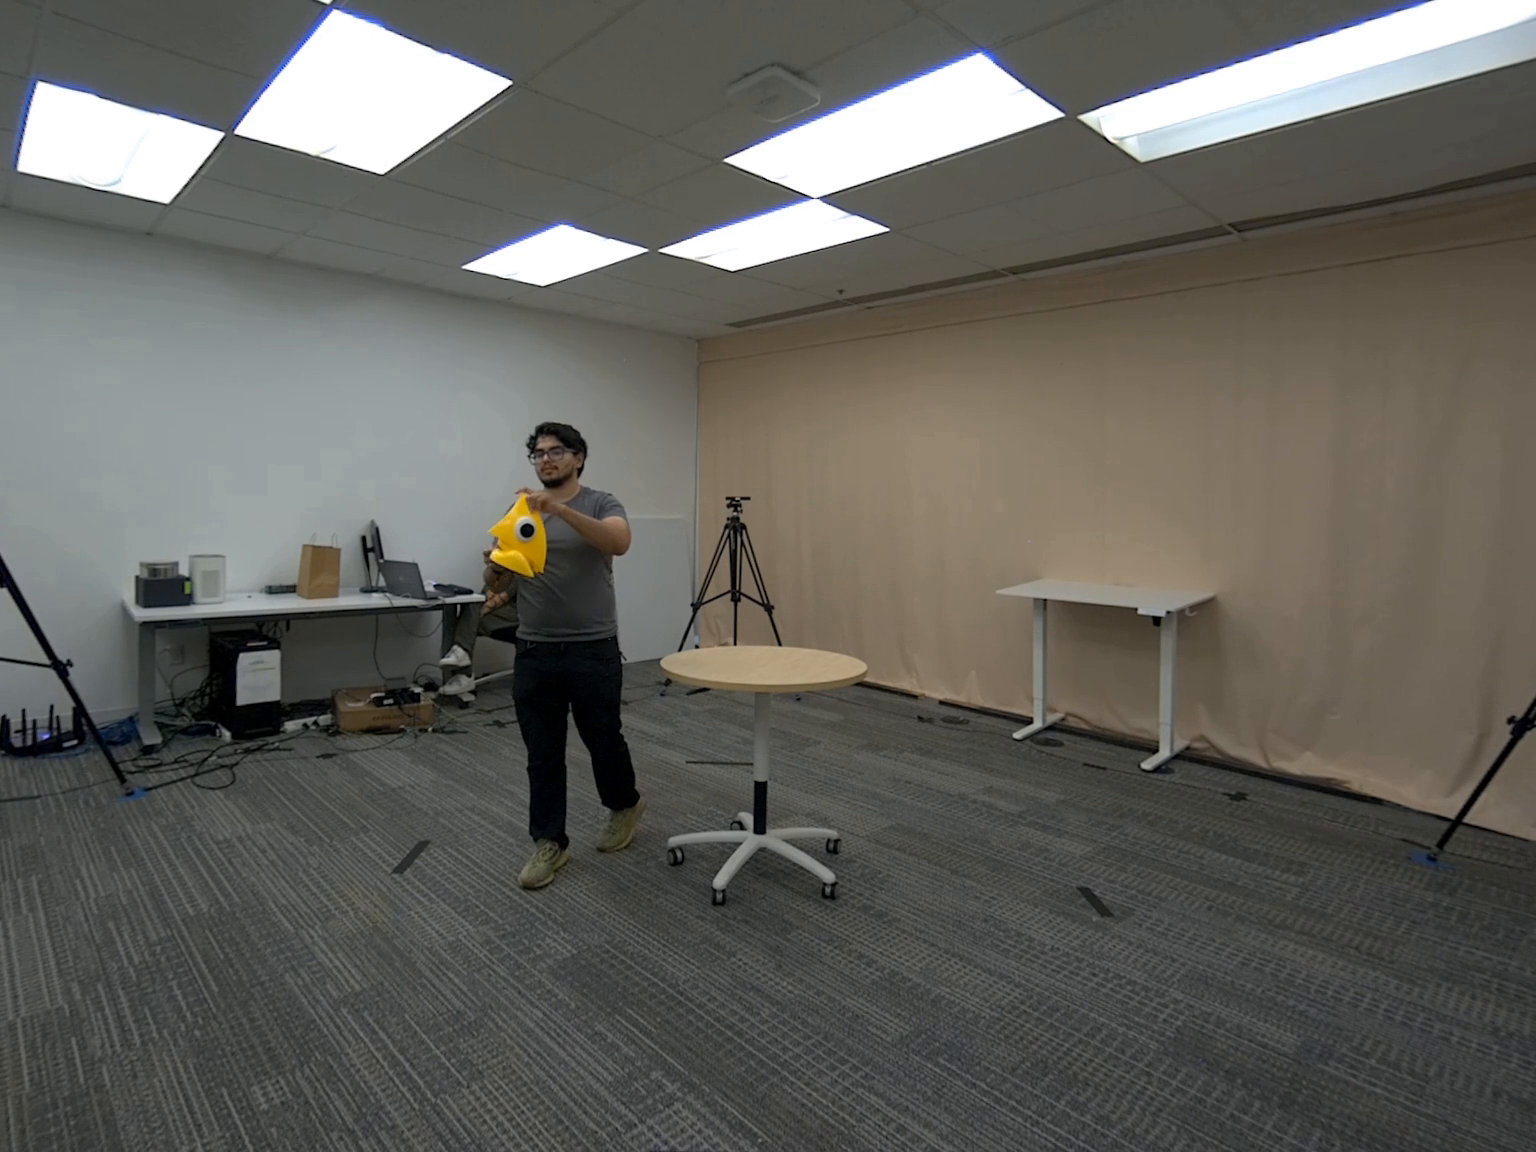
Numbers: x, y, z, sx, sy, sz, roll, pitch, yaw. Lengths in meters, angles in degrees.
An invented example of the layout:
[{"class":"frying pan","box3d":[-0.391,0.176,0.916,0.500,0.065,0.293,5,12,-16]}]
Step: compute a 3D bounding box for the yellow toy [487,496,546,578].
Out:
[{"class":"yellow toy","box3d":[-0.800,-0.144,2.746,0.193,0.230,0.205,25,5,0]}]
